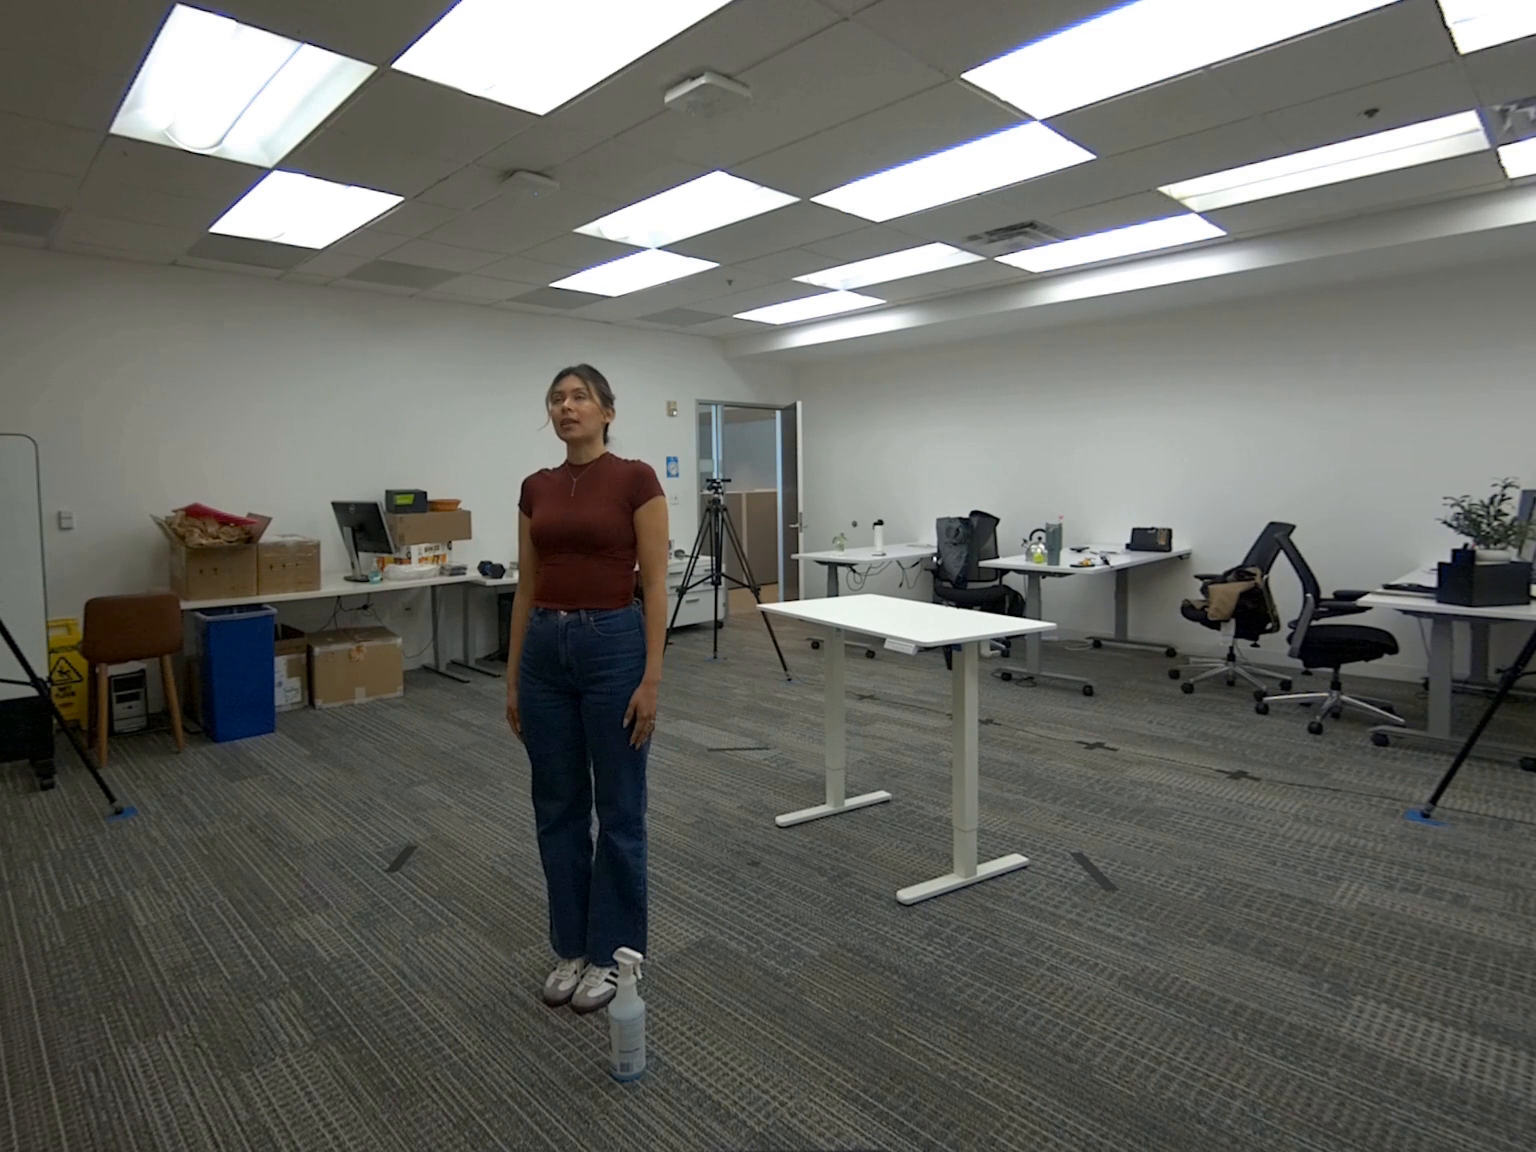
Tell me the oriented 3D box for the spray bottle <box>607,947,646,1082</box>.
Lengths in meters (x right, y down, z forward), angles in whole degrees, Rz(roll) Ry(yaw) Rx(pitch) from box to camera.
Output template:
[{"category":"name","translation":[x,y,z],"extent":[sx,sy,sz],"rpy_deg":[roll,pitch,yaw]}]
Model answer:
[{"category":"spray bottle","translation":[-0.326,1.032,2.029],"extent":[0.085,0.296,0.092],"rpy_deg":[-2,4,-27]}]
